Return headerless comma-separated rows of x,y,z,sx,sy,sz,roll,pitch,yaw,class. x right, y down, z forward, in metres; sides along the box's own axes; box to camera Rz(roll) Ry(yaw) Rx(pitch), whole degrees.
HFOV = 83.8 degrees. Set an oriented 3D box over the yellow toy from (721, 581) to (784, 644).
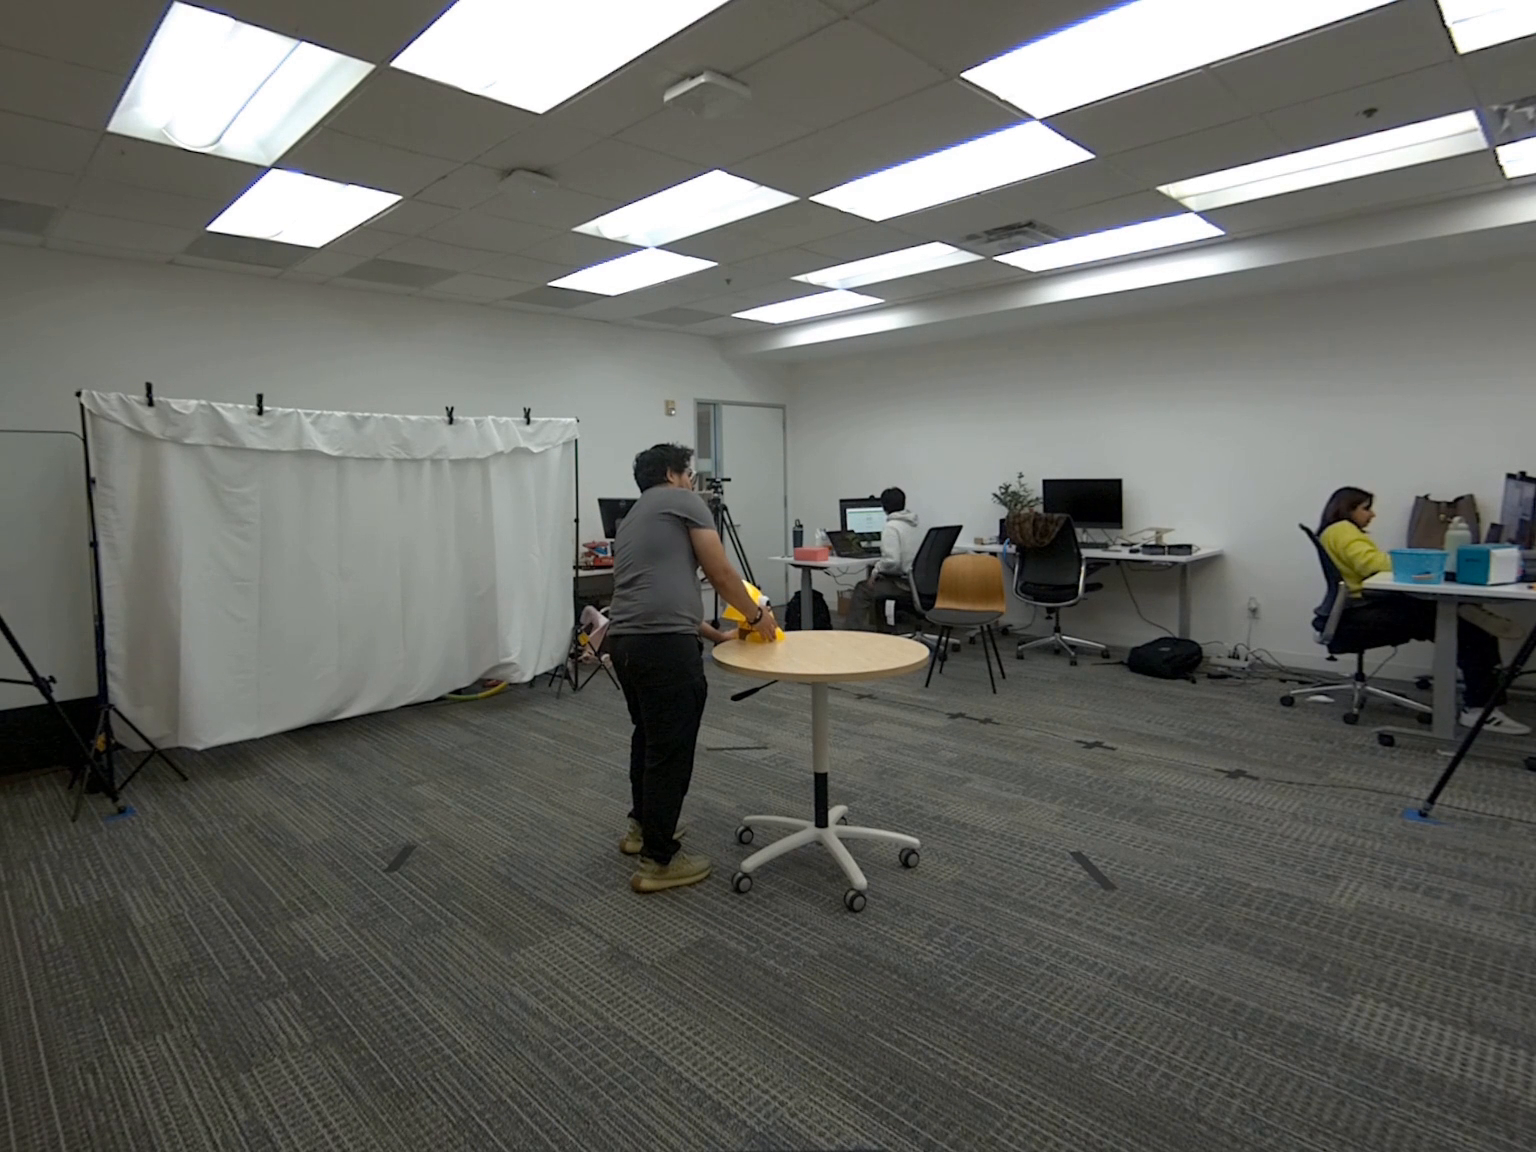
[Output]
-0.048,0.125,3.299,0.188,0.230,0.211,-6,6,-36,yellow toy
